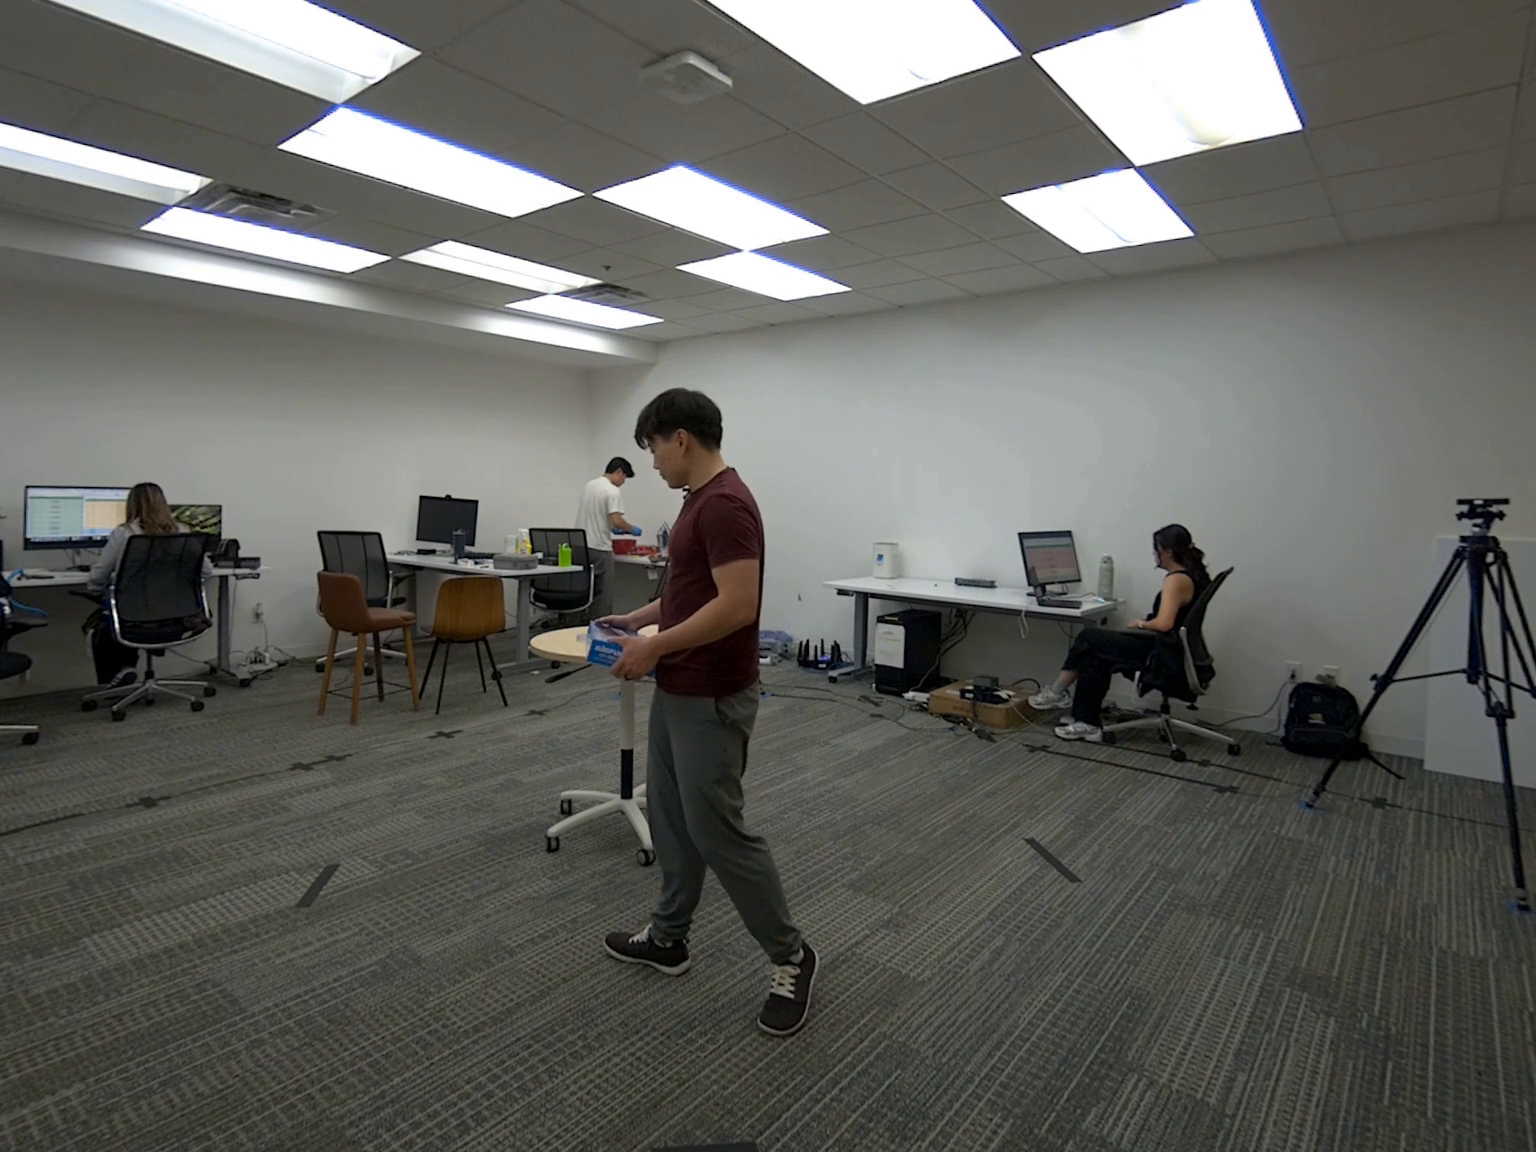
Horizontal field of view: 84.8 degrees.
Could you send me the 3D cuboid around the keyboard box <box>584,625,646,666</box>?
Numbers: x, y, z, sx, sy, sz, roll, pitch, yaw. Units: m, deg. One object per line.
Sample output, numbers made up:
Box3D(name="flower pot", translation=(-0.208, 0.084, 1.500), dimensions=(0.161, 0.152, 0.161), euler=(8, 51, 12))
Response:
Box3D(name="keyboard box", translation=(-0.412, 0.196, 2.327), dimensions=(0.173, 0.059, 0.442), euler=(12, -2, -13))
